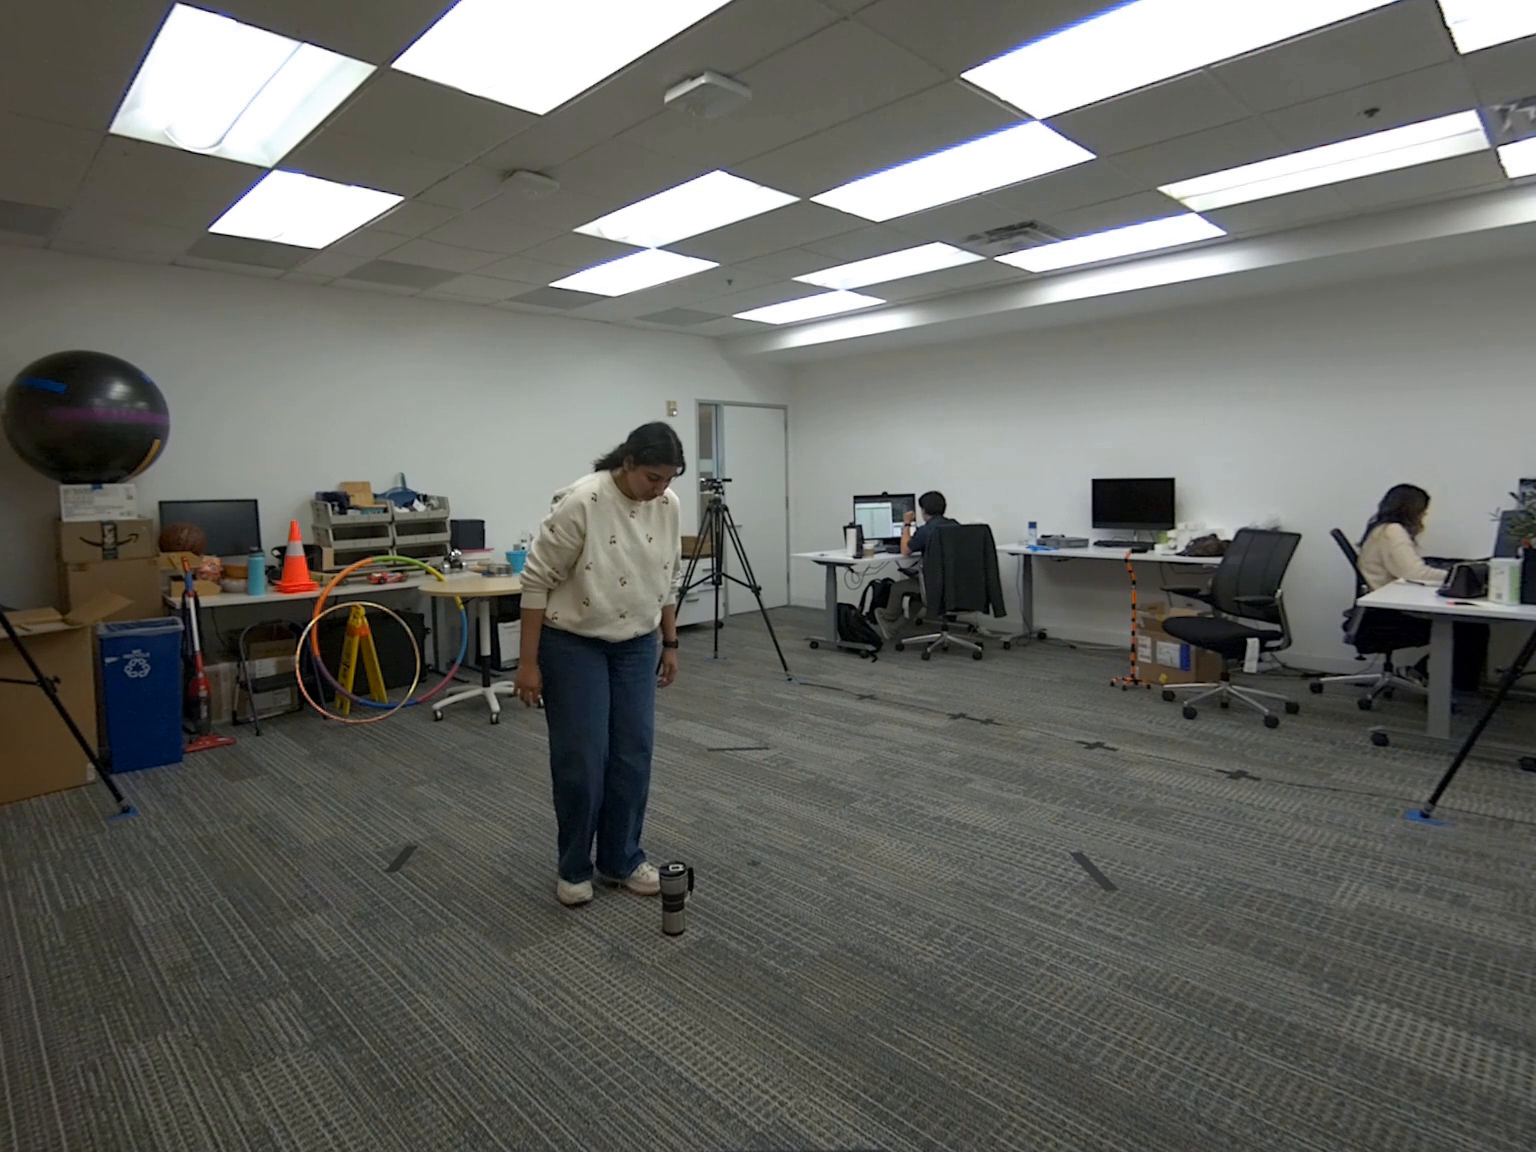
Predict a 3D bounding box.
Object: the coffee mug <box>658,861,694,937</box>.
[{"bbox_3d":[-0.268,0.999,2.654,0.119,0.202,0.090,-6,3,-26],"label":"coffee mug"}]
